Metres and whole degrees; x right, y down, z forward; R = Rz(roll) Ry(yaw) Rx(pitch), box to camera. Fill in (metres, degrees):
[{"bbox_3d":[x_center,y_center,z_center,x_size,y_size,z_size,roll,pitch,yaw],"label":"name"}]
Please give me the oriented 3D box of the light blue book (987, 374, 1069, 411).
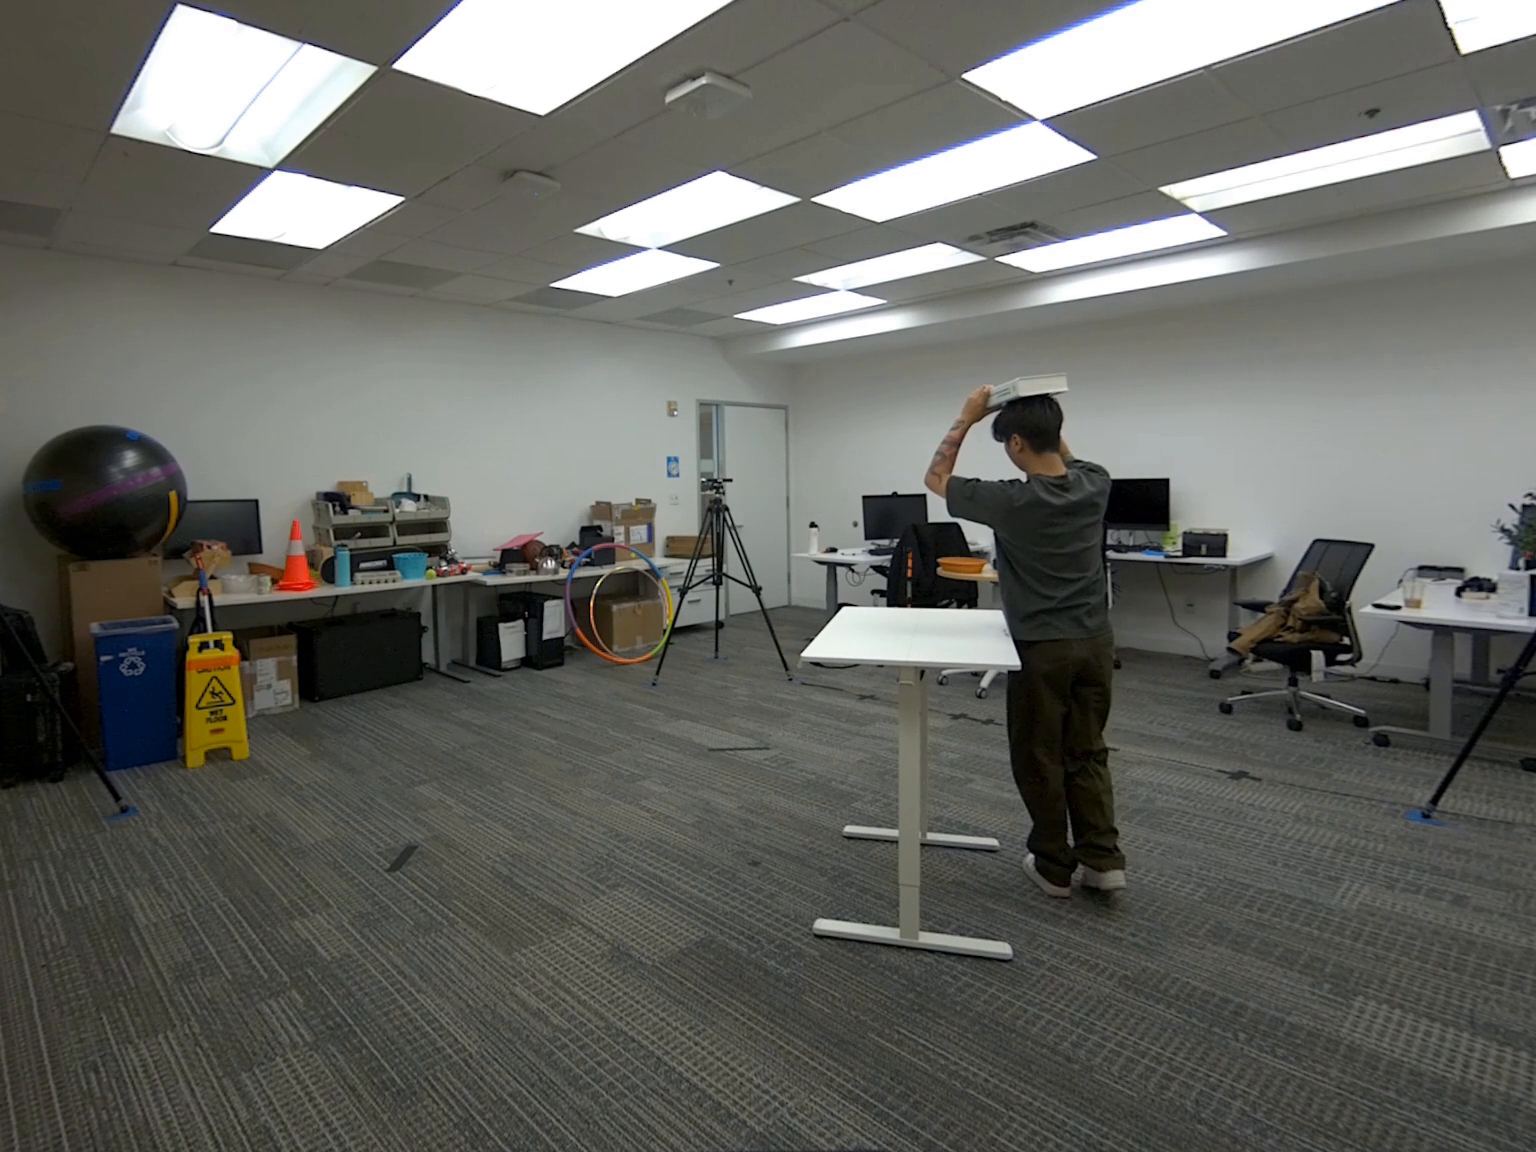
[{"bbox_3d":[0.847,-0.606,2.831,0.189,0.059,0.264,-9,3,-13],"label":"light blue book"}]
